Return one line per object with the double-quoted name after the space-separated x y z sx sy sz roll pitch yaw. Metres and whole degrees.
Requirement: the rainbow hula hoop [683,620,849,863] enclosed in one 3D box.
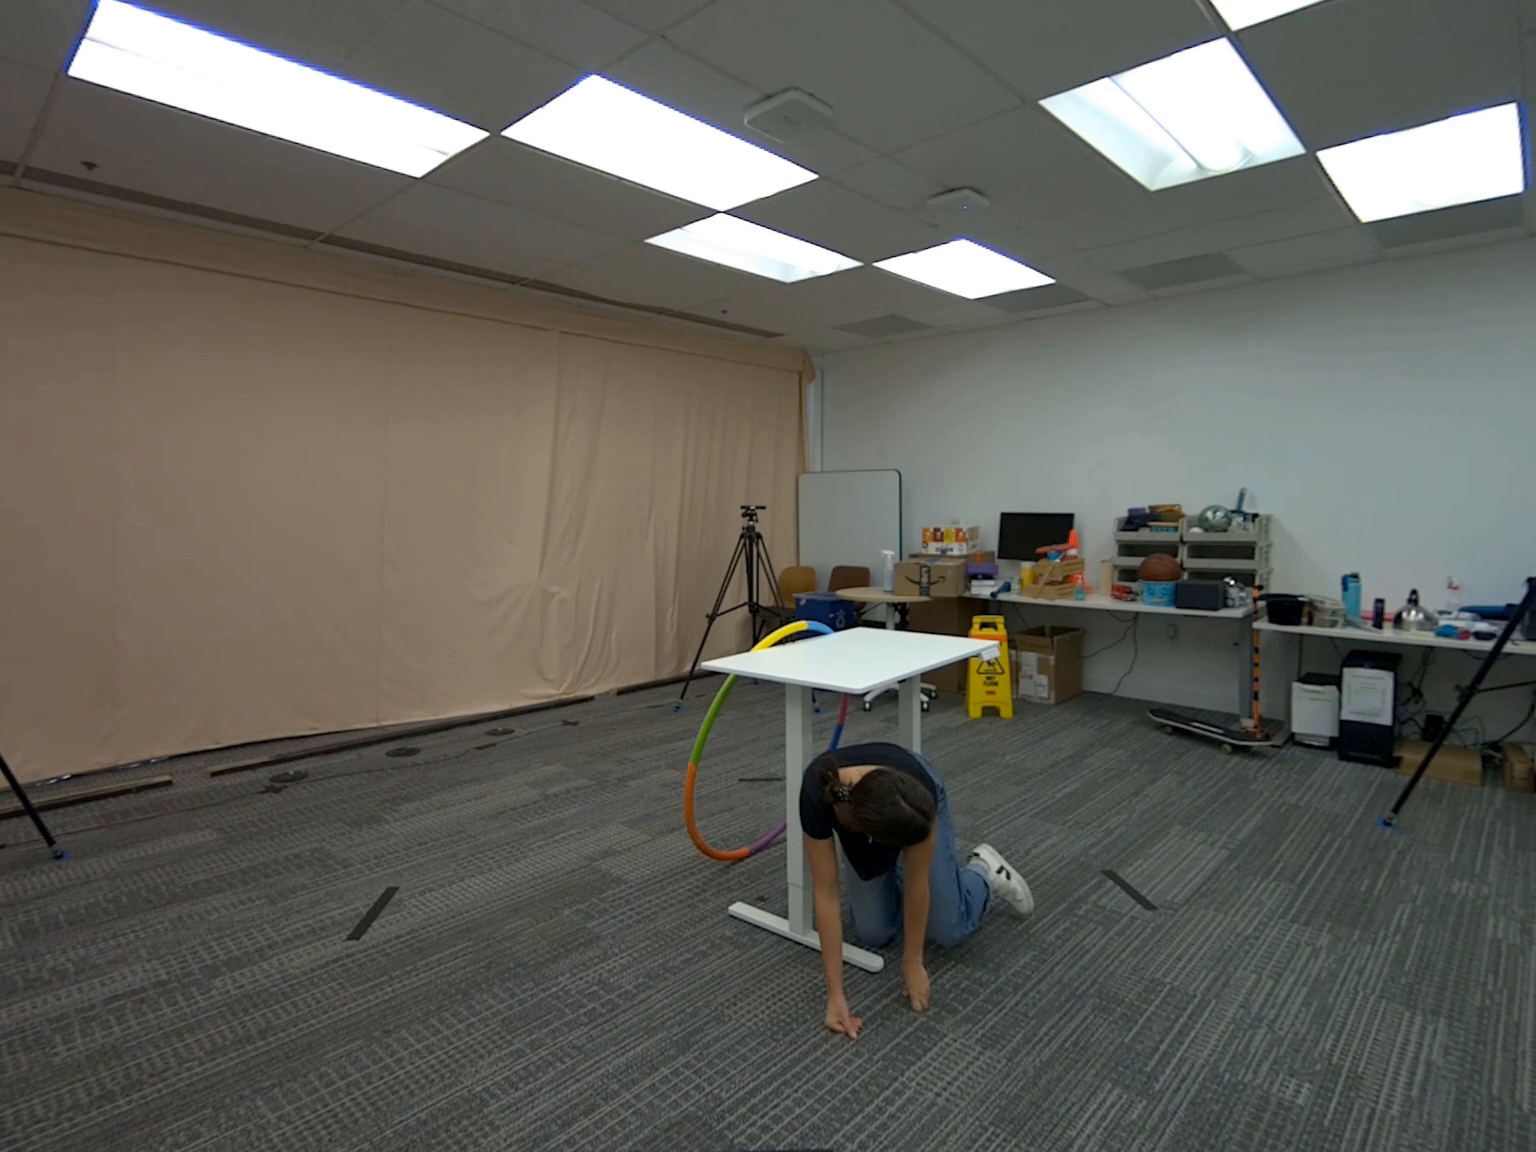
0.031 0.648 3.275 0.037 0.973 0.949 21 16 36 "rainbow hula hoop"
